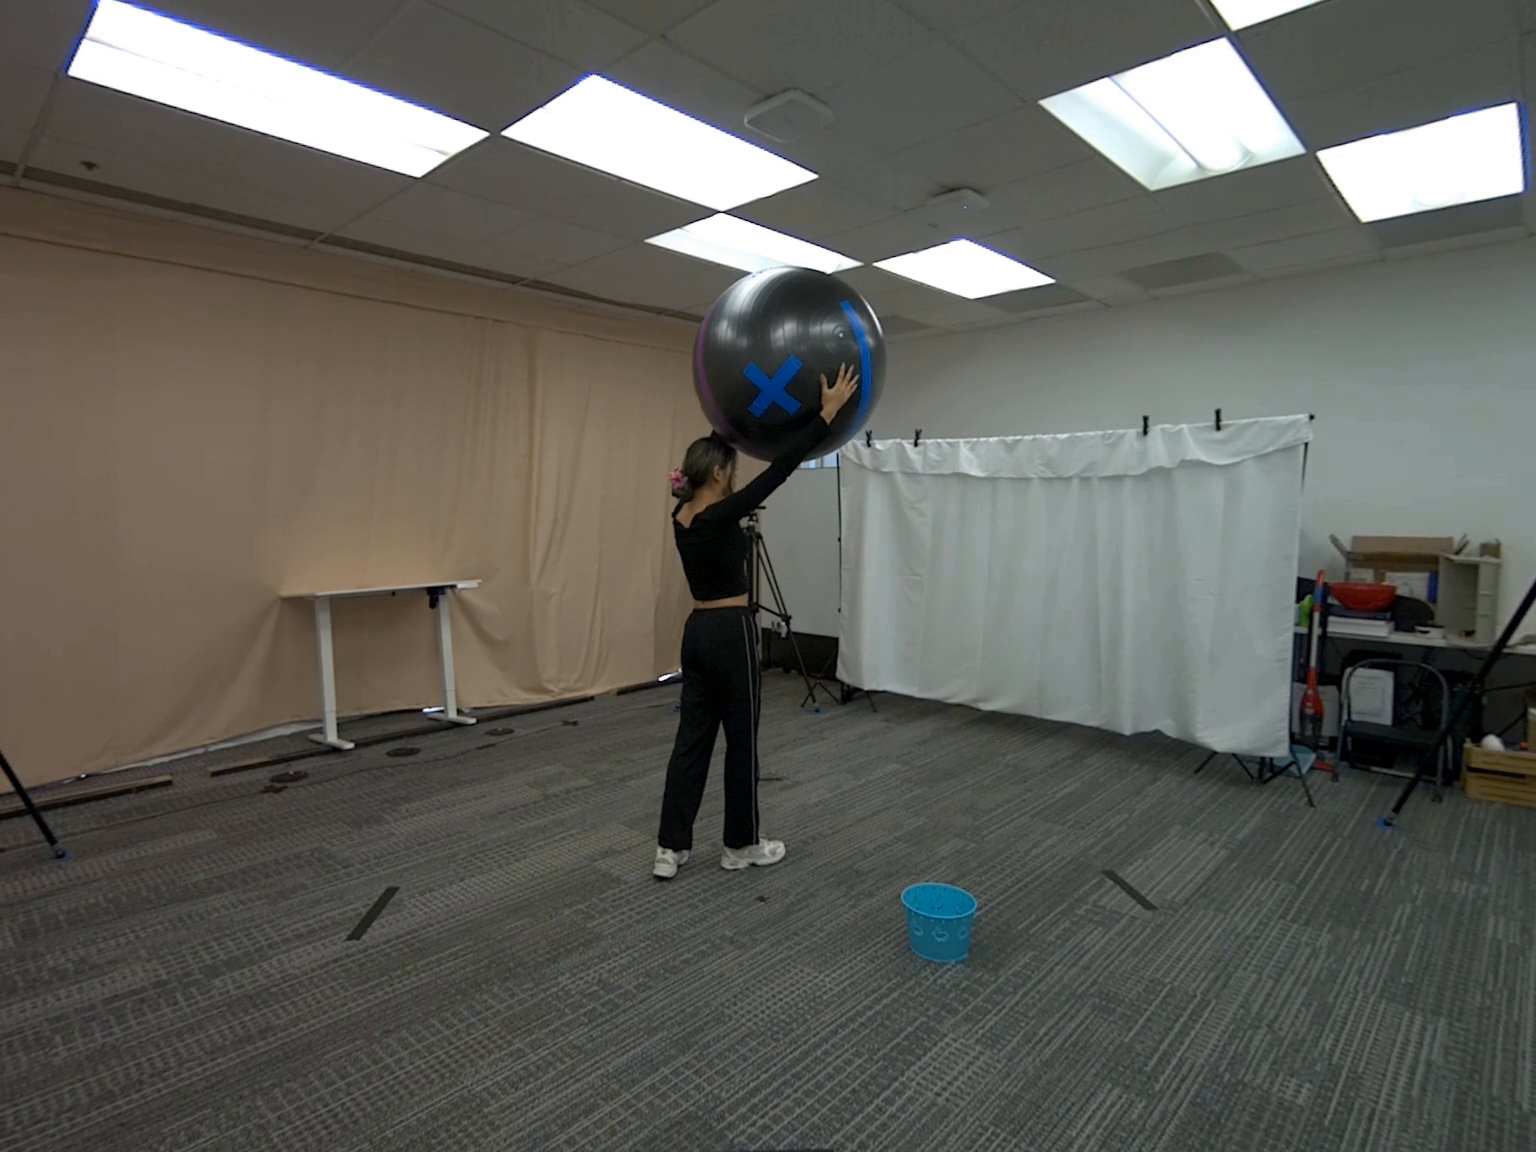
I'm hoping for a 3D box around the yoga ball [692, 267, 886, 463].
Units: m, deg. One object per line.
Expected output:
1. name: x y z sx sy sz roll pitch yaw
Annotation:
1. yoga ball: 0.082 -0.816 3.310 0.757 0.756 0.760 0 4 -2
